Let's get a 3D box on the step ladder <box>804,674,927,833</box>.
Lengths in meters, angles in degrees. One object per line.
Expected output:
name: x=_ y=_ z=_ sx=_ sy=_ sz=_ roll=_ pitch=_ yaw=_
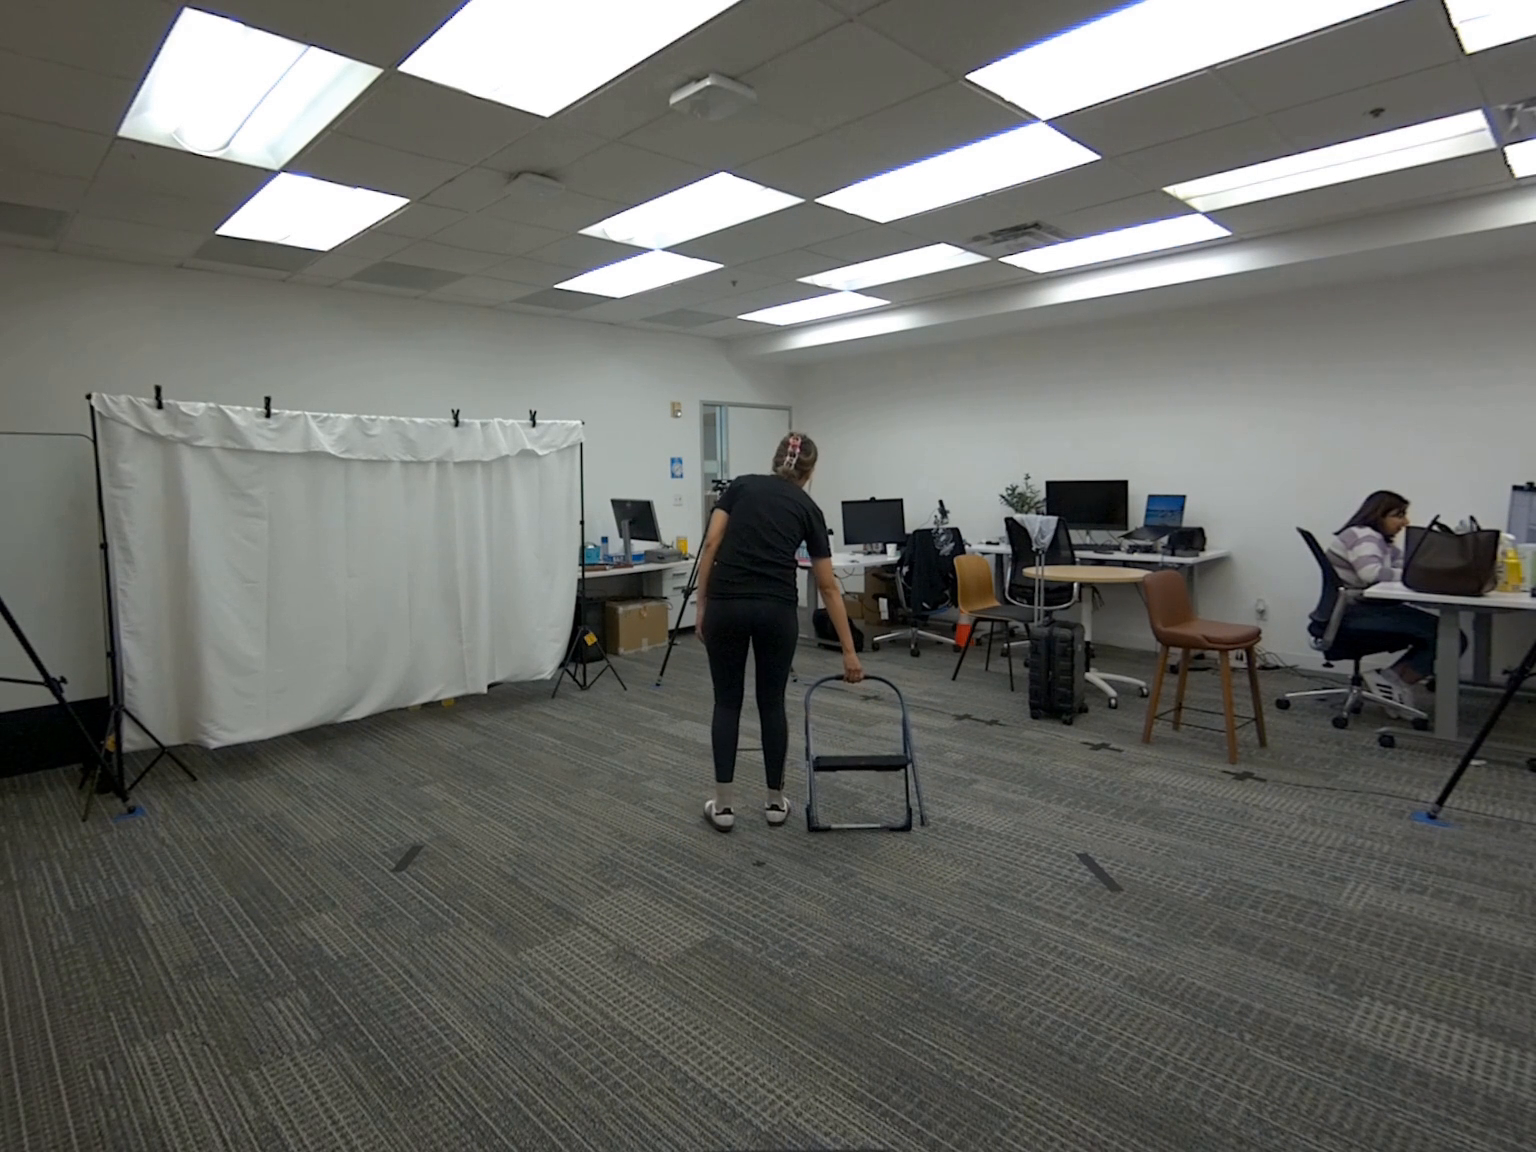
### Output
step ladder: x=0.359 y=0.674 z=3.351 sx=0.431 sy=0.618 sz=0.342 roll=-1 pitch=-22 yaw=0
